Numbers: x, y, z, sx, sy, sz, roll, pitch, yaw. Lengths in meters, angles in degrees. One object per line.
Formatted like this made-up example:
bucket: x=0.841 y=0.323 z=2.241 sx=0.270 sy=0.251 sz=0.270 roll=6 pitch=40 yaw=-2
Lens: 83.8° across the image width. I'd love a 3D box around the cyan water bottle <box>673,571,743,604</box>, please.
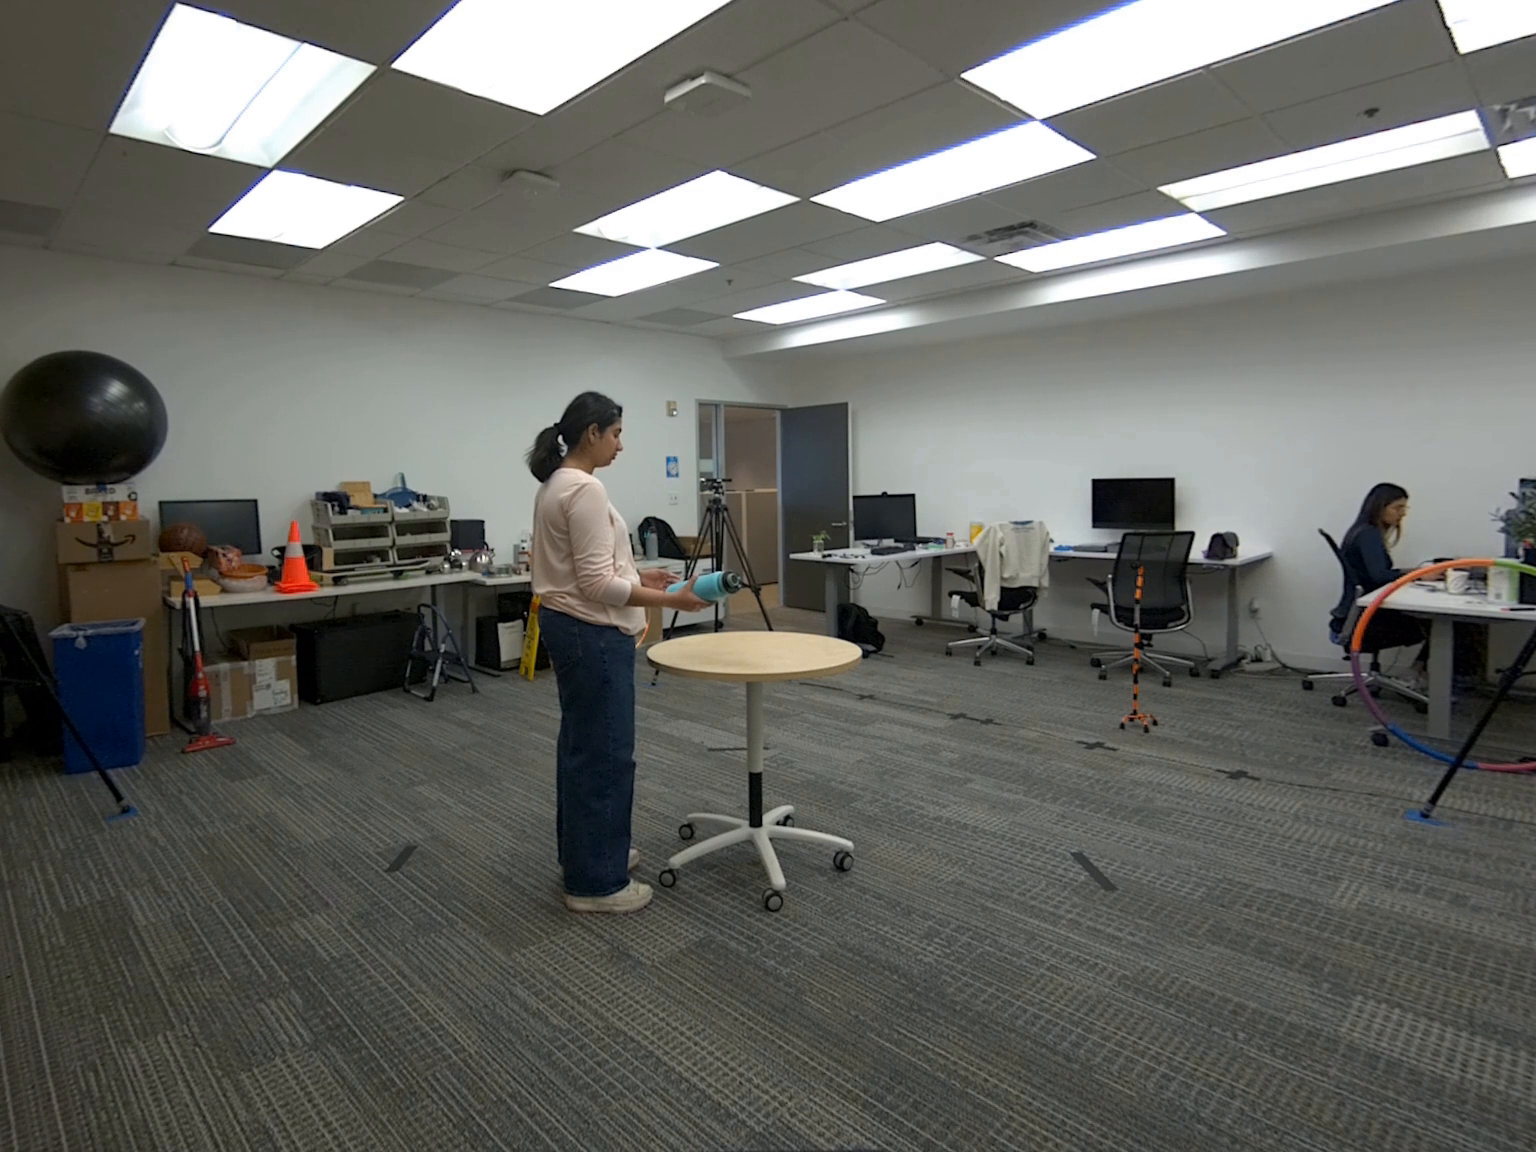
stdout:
cyan water bottle: x=-0.212 y=0.043 z=2.834 sx=0.289 sy=0.093 sz=0.090 roll=-16 pitch=-5 yaw=35
